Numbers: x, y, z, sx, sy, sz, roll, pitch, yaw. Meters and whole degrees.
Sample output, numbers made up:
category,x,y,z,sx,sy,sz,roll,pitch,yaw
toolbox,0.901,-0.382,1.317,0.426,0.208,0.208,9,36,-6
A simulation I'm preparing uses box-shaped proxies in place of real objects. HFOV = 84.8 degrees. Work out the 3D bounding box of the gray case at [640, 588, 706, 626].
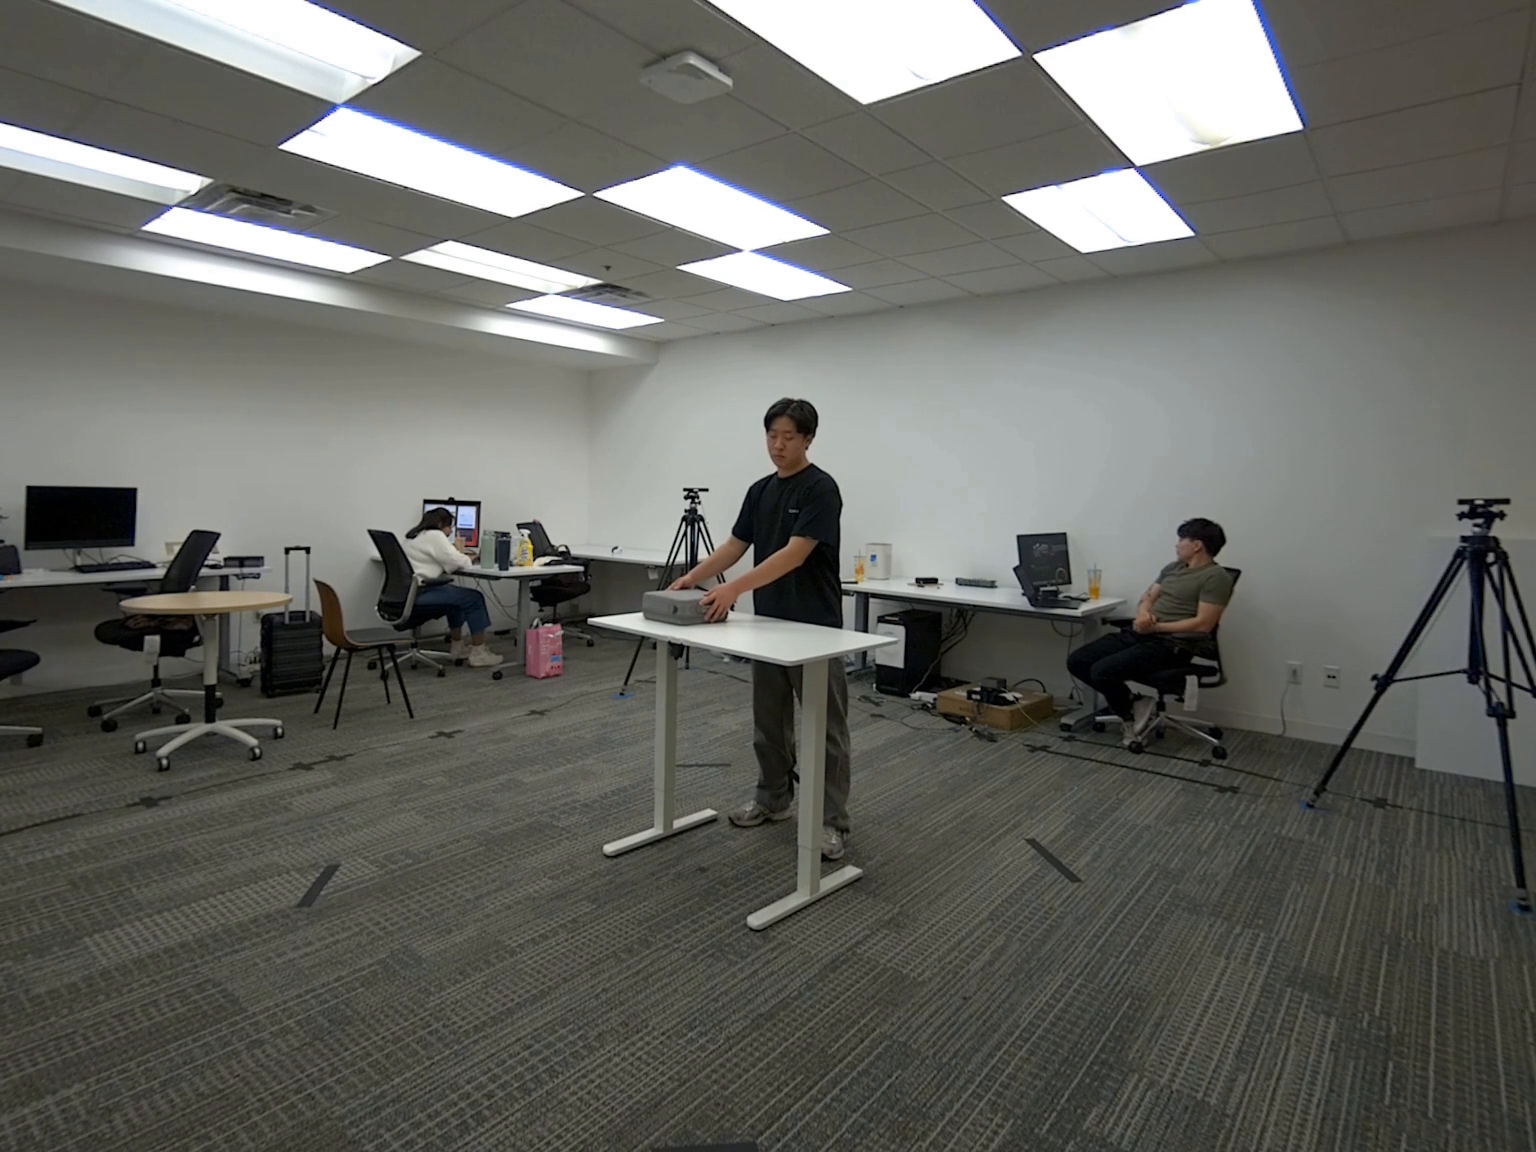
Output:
category,x,y,z,sx,sy,sz,roll,pitch,yaw
gray case,-0.321,0.116,3.267,0.255,0.102,0.297,-4,8,-45
